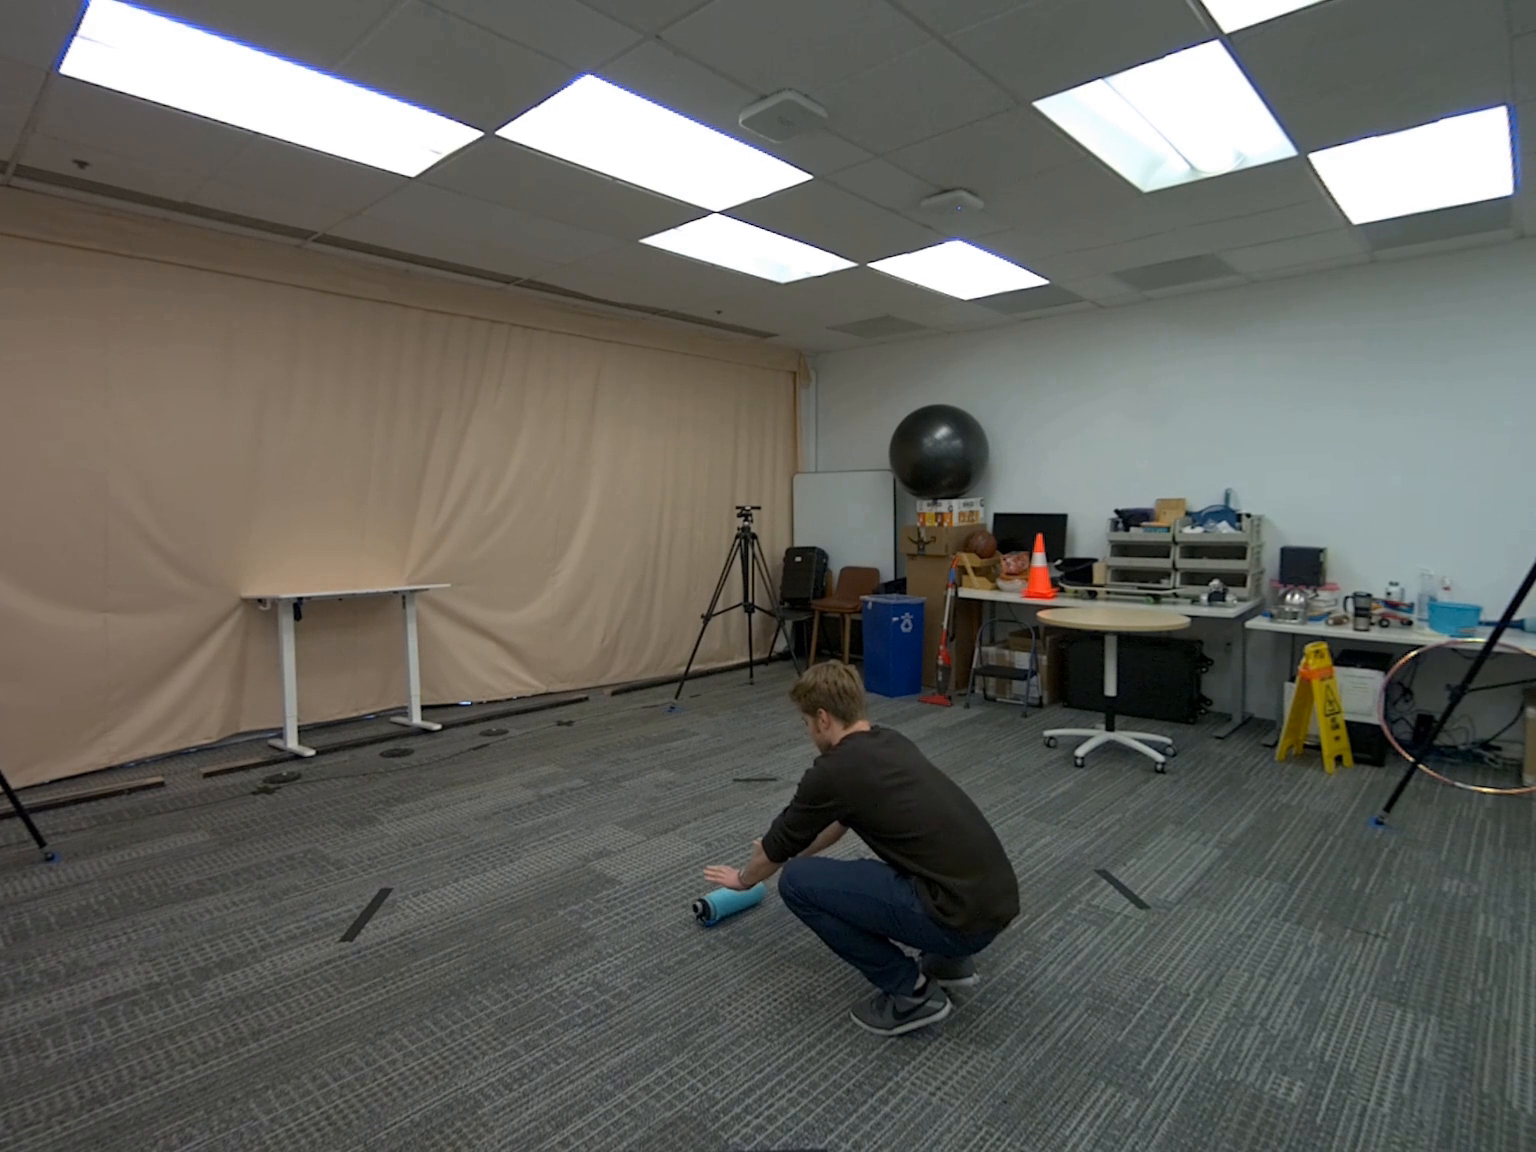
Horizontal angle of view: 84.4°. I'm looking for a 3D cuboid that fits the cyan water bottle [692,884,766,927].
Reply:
[{"bbox_3d":[-0.136,1.101,2.874,0.275,0.092,0.095,-6,7,-44],"label":"cyan water bottle"}]
